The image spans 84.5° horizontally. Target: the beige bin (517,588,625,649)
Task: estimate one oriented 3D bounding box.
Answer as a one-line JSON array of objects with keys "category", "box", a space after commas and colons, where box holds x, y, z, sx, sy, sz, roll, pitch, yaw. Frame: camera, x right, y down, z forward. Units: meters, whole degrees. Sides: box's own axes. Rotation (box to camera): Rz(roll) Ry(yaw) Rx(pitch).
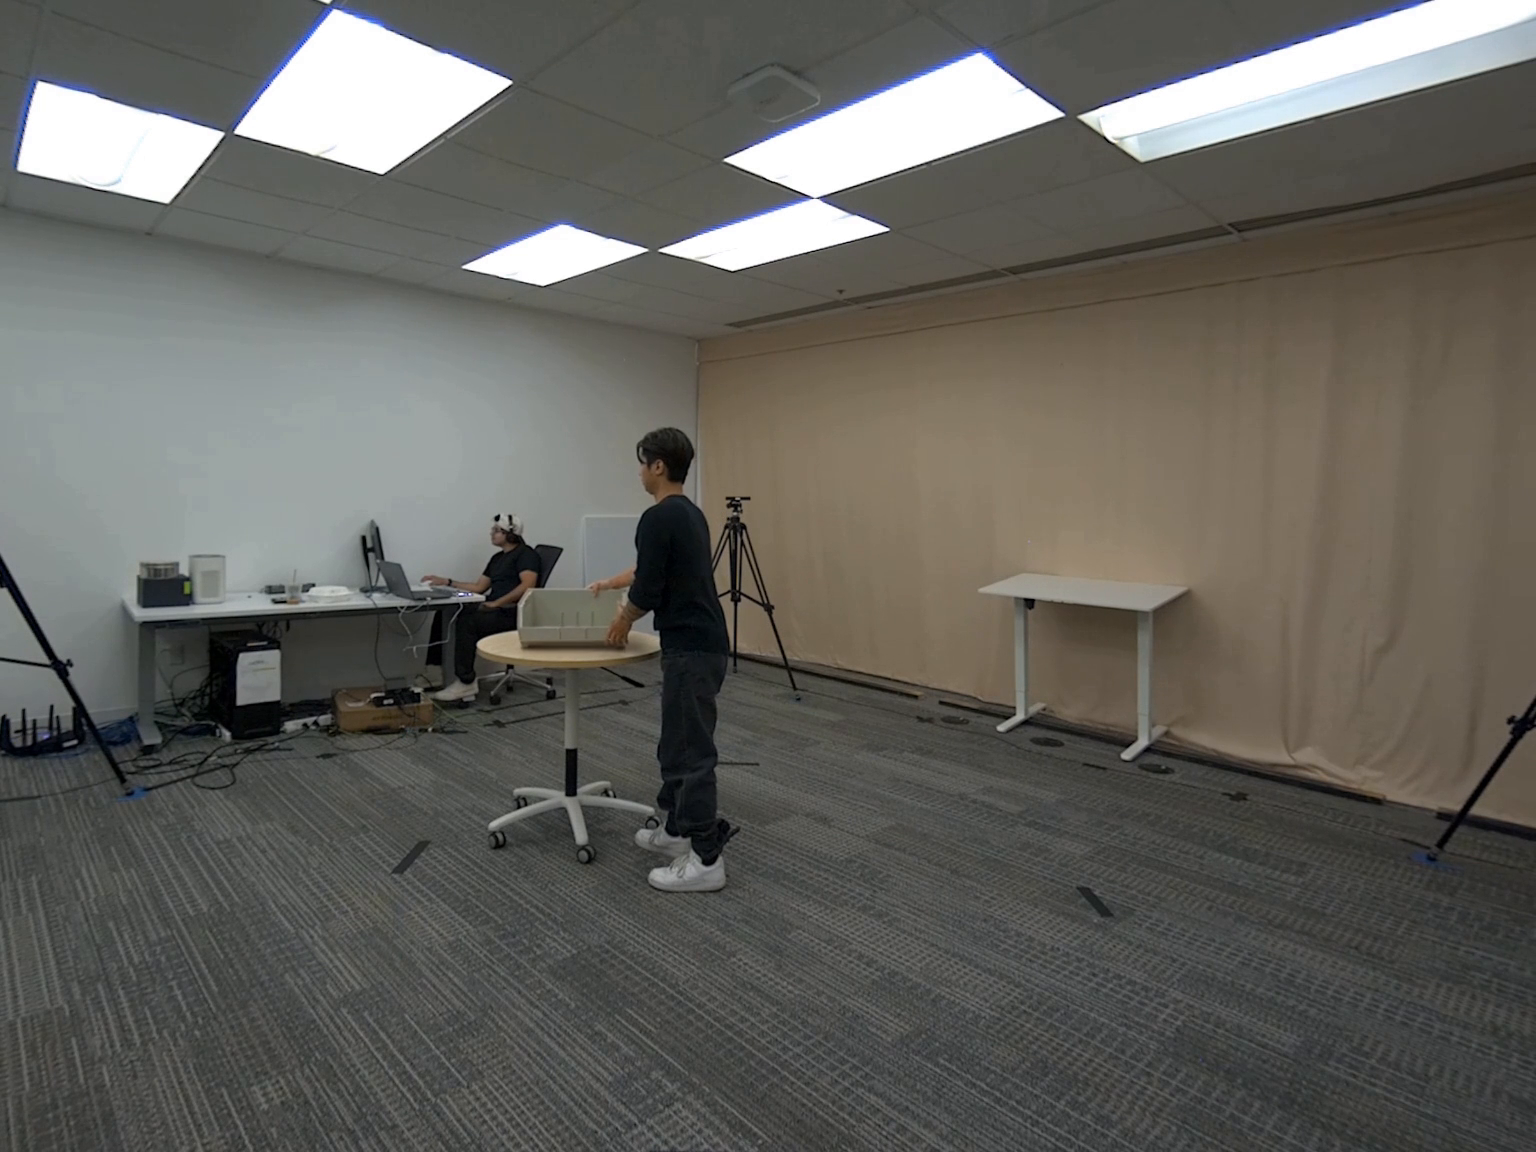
[{"category": "beige bin", "box": [-0.808, 0.171, 3.480, 0.421, 0.188, 0.380, 1, 7, -5]}]
